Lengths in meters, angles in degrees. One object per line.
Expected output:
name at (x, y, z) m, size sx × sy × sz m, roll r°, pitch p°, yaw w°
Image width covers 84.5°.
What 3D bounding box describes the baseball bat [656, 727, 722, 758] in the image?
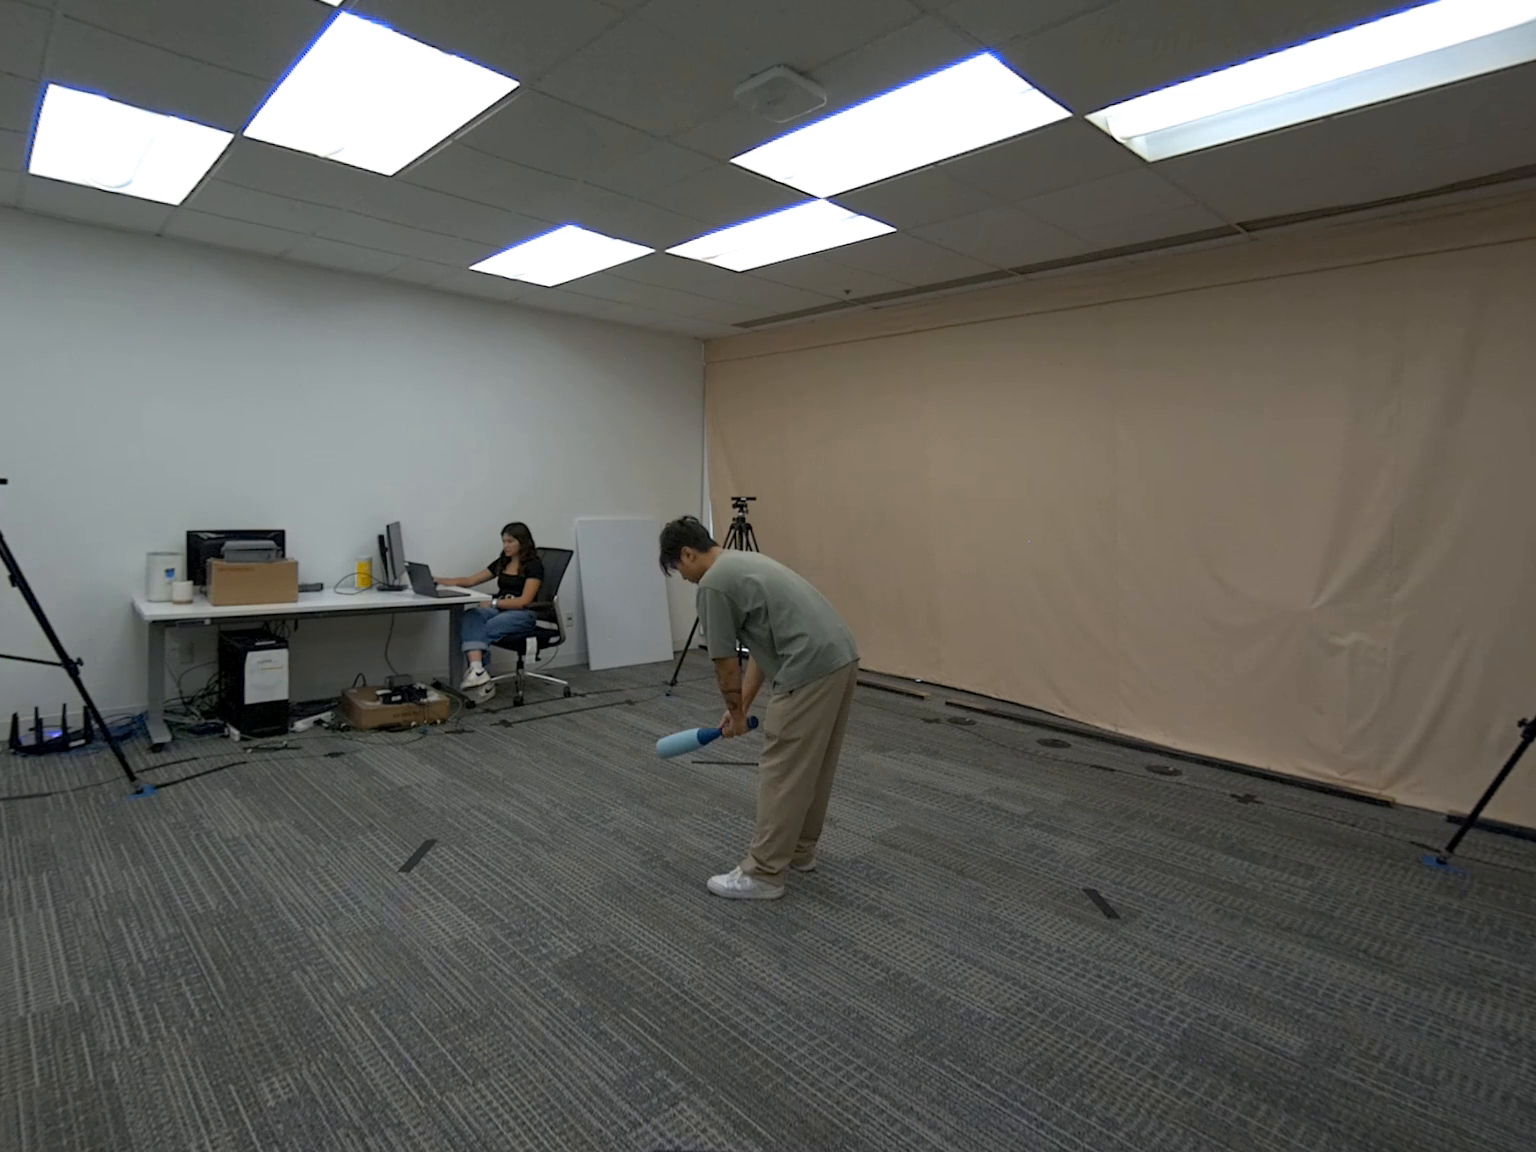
baseball bat at (-0.260, 0.628, 3.314) m, size 0.550 × 0.090 × 0.087 m, roll -23°, pitch -12°, yaw 38°
